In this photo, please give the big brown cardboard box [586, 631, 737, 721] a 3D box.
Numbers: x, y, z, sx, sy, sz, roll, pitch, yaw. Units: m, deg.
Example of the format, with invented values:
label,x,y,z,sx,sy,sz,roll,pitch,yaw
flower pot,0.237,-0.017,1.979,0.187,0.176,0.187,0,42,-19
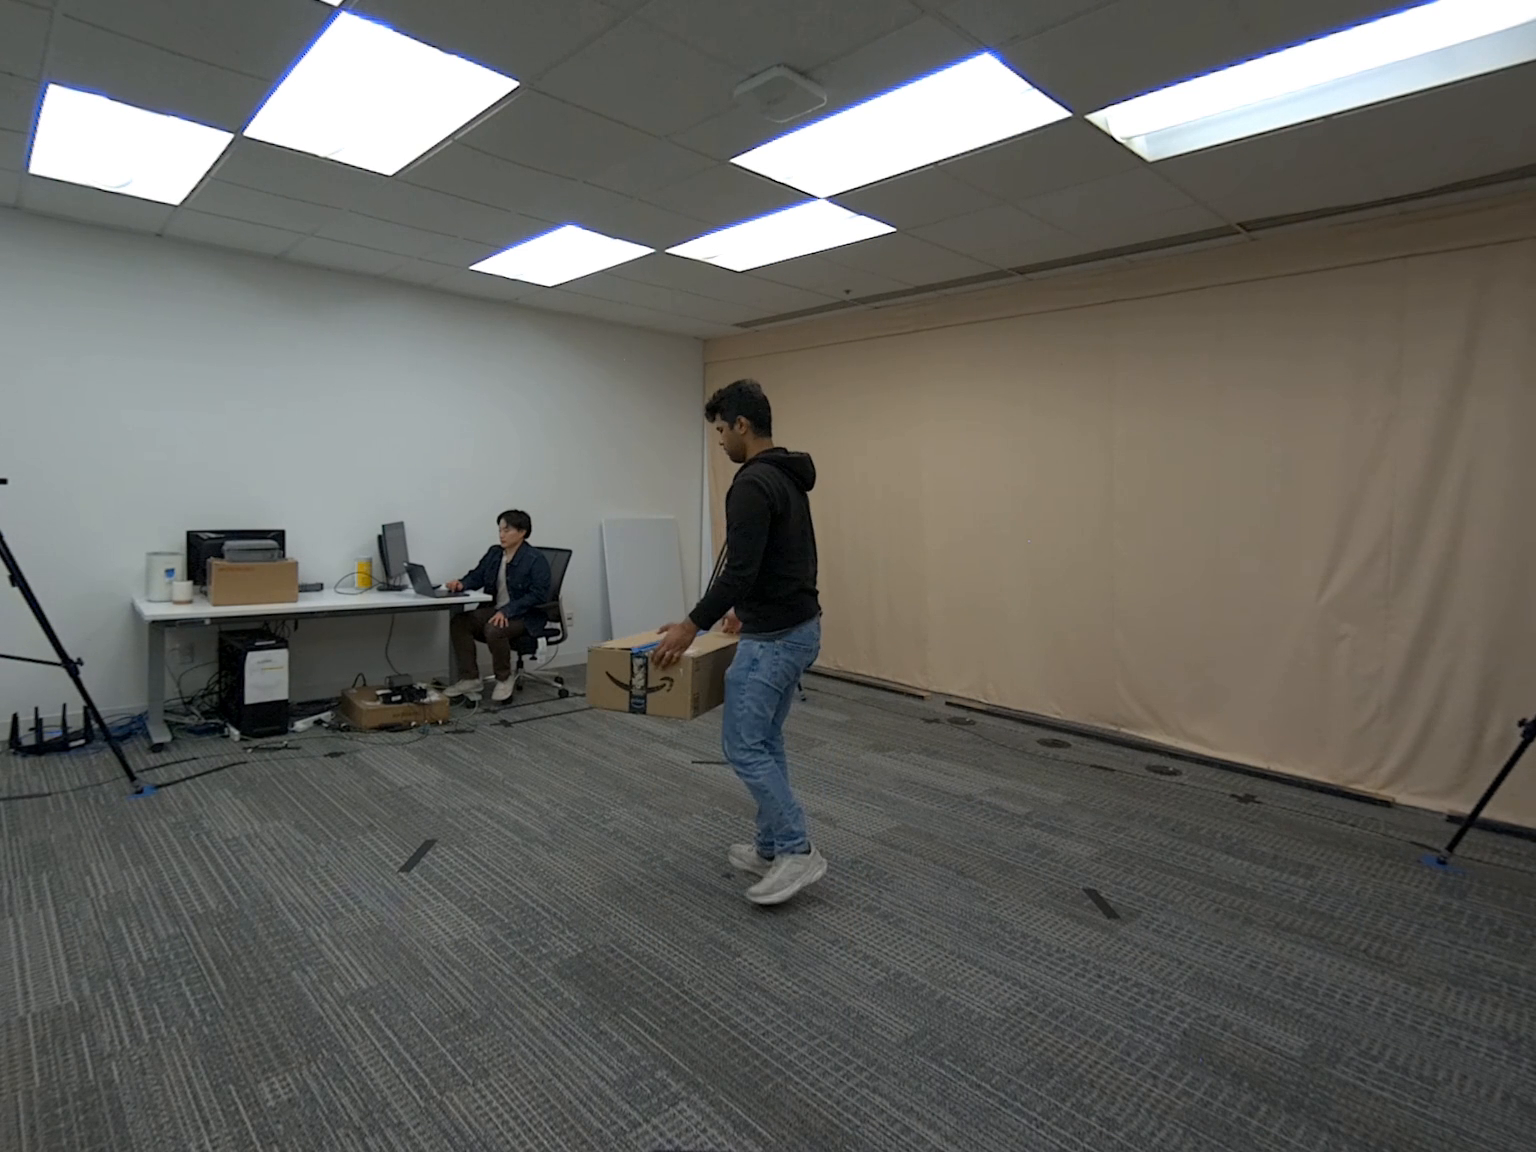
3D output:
label,x,y,z,sx,sy,sz,roll,pitch,yaw
big brown cardboard box,-0.348,0.355,3.144,0.425,0.233,0.580,3,4,21
